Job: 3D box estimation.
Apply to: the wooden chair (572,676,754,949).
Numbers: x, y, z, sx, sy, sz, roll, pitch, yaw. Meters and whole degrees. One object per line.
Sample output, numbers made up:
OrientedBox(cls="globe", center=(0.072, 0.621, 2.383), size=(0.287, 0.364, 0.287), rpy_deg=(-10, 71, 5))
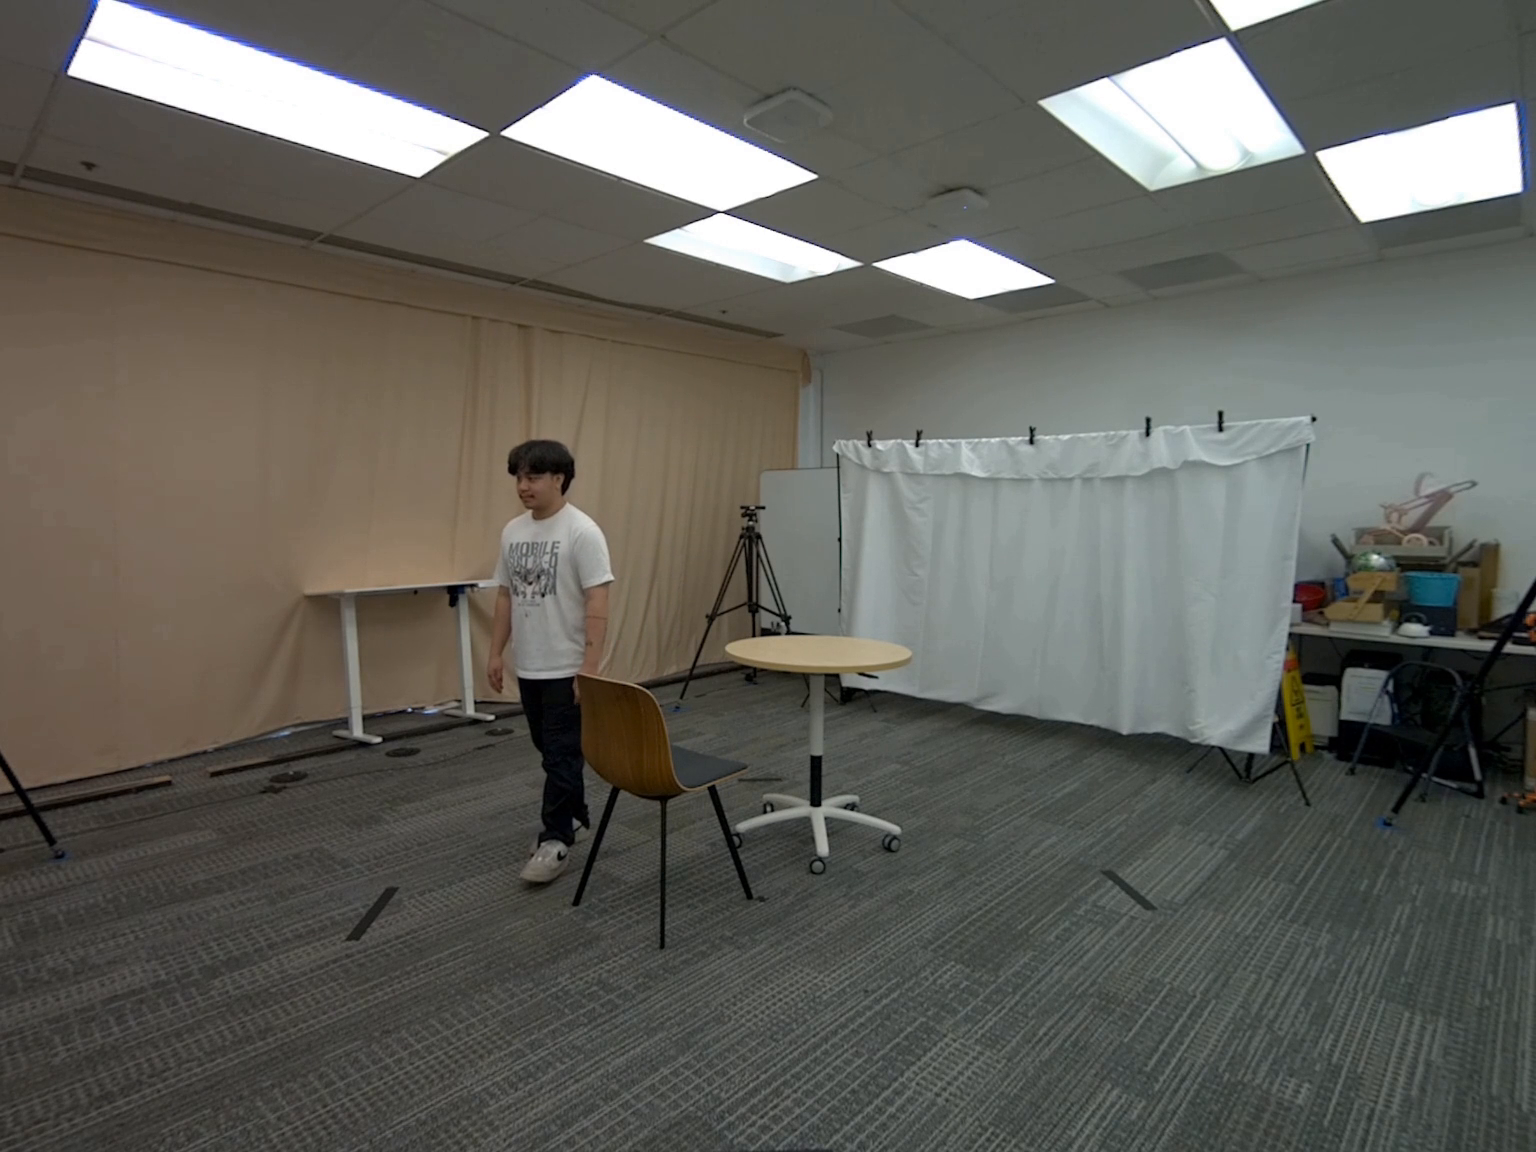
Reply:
OrientedBox(cls="wooden chair", center=(-0.364, 0.723, 2.937), size=(0.494, 0.873, 0.508), rpy_deg=(2, 8, 40))
